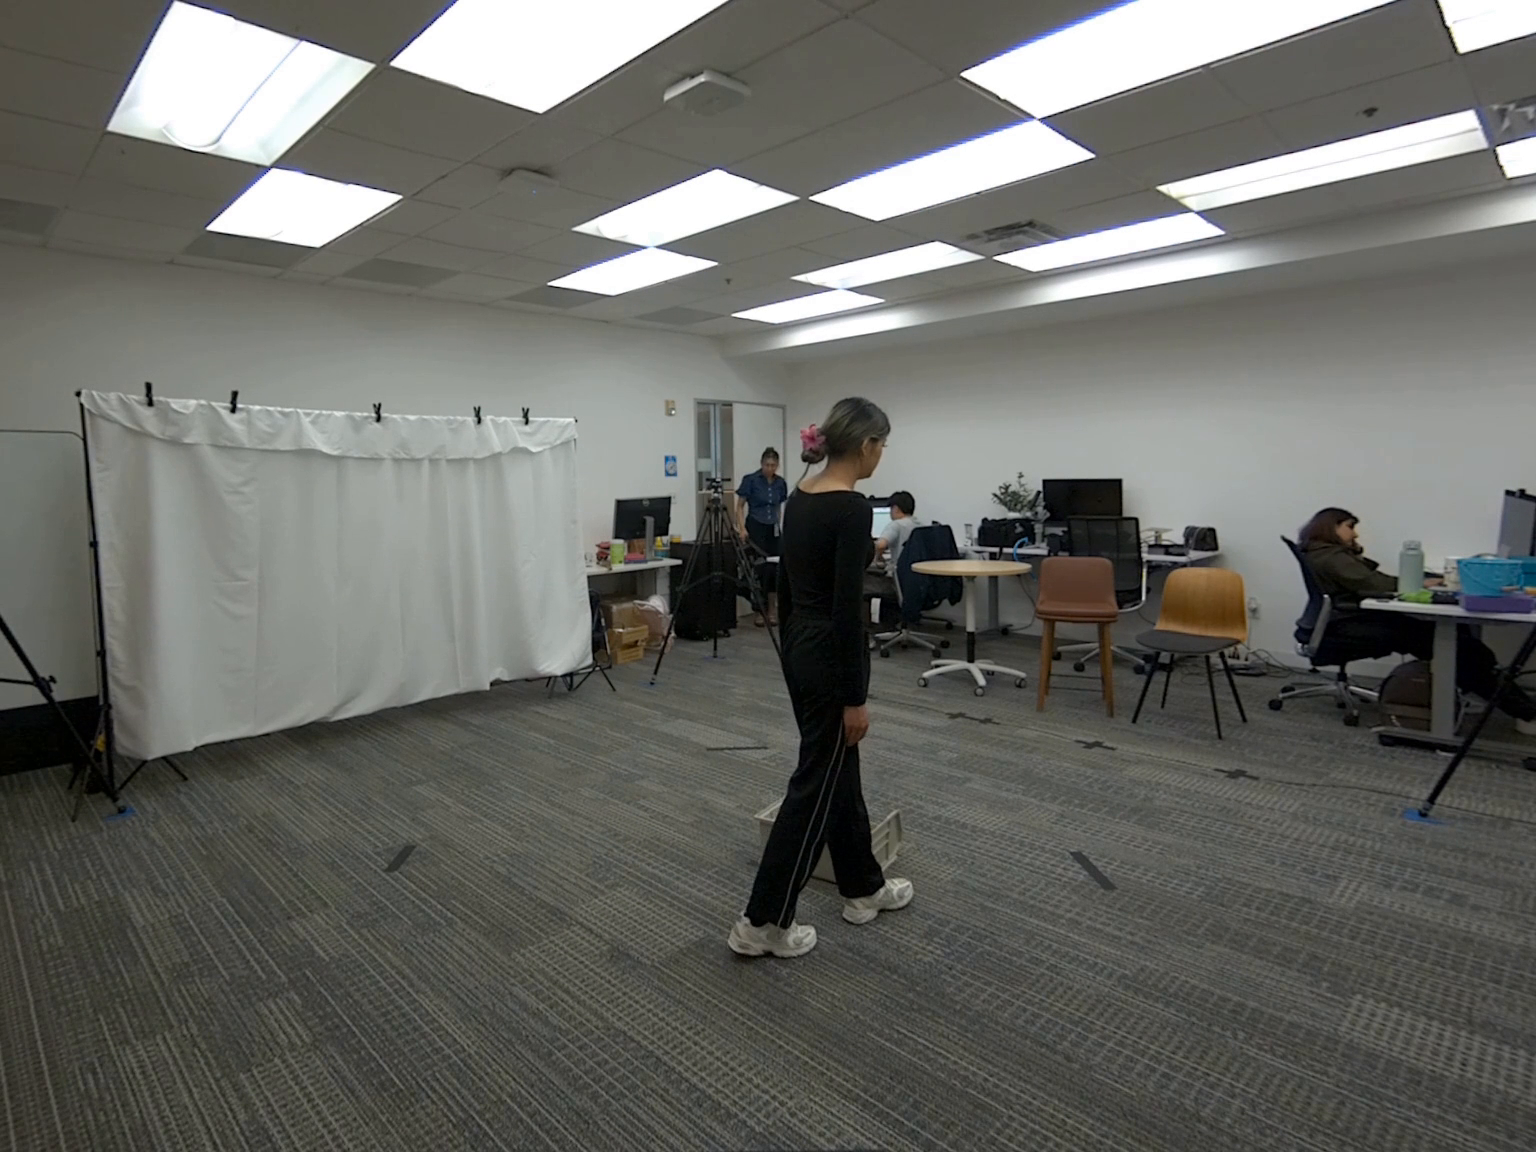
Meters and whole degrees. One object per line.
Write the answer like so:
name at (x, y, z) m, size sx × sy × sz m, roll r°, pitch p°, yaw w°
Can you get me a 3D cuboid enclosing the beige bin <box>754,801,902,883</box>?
beige bin at (0.231, 0.951, 3.122) m, size 0.434 × 0.188 × 0.369 m, roll 3°, pitch 8°, yaw 32°
